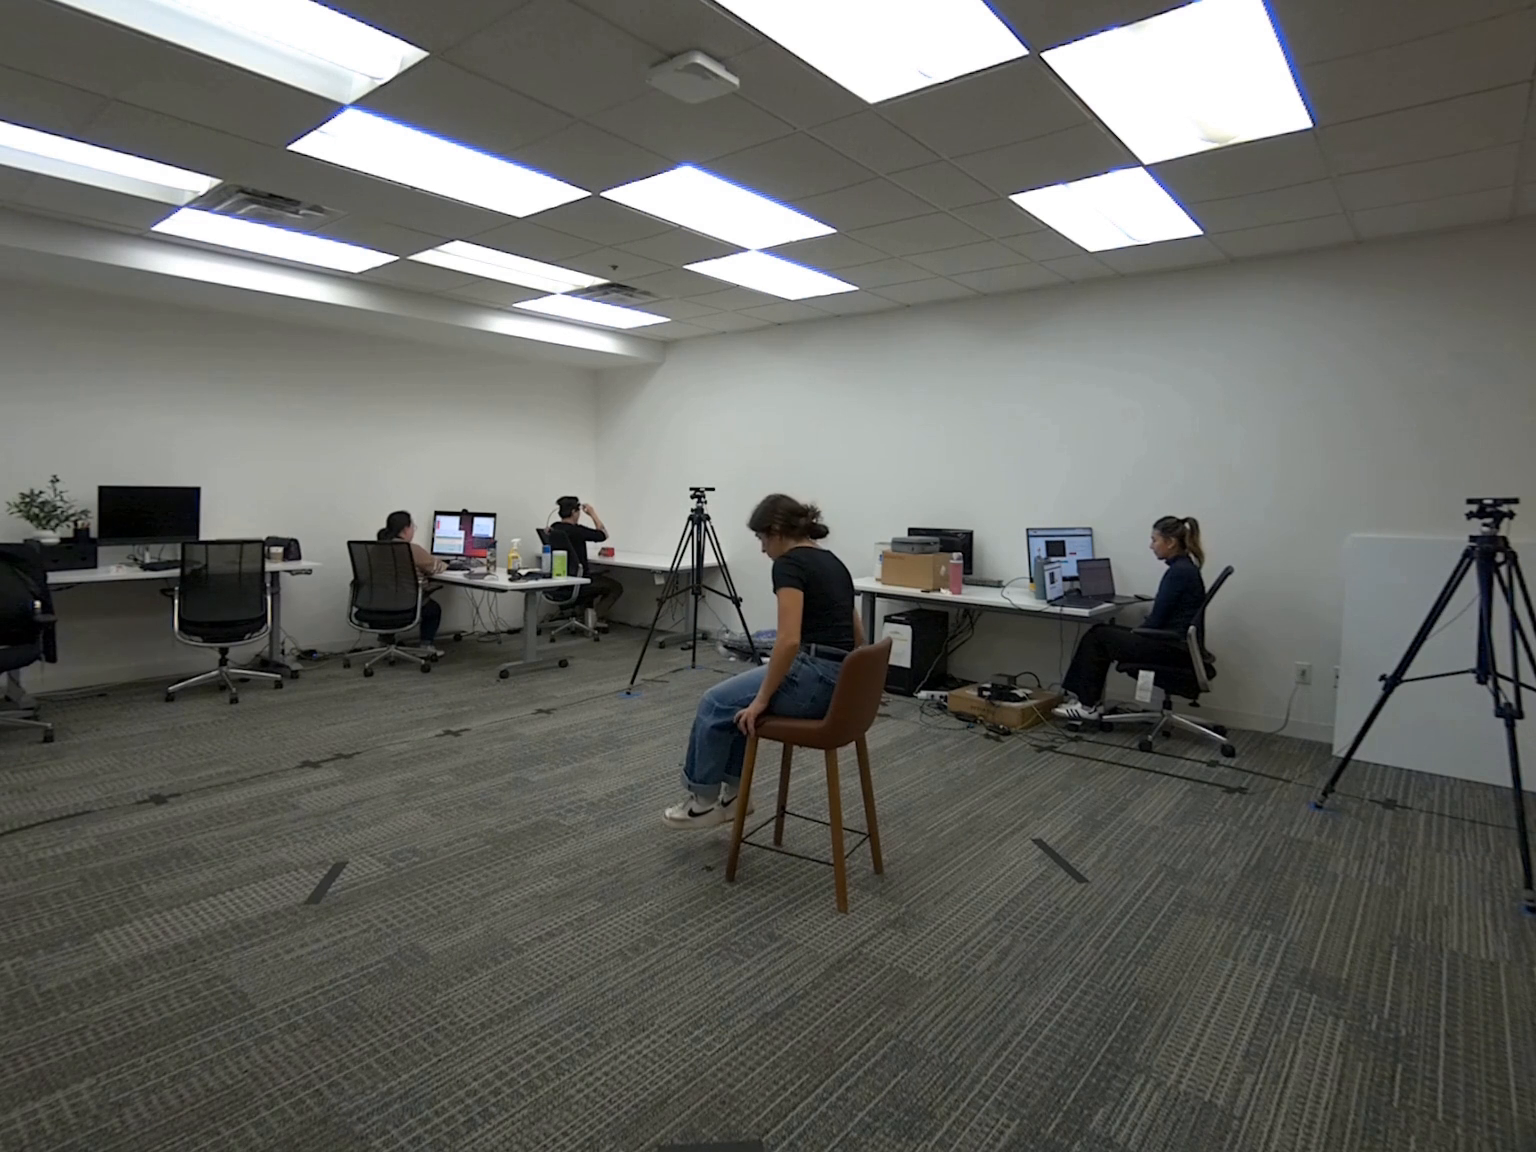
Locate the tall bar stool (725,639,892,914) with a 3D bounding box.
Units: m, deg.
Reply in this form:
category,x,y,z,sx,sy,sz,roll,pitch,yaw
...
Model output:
category,x,y,z,sx,sy,sz,roll,pitch,yaw
tall bar stool,0.152,0.649,3.041,0.482,0.886,0.445,5,5,29
